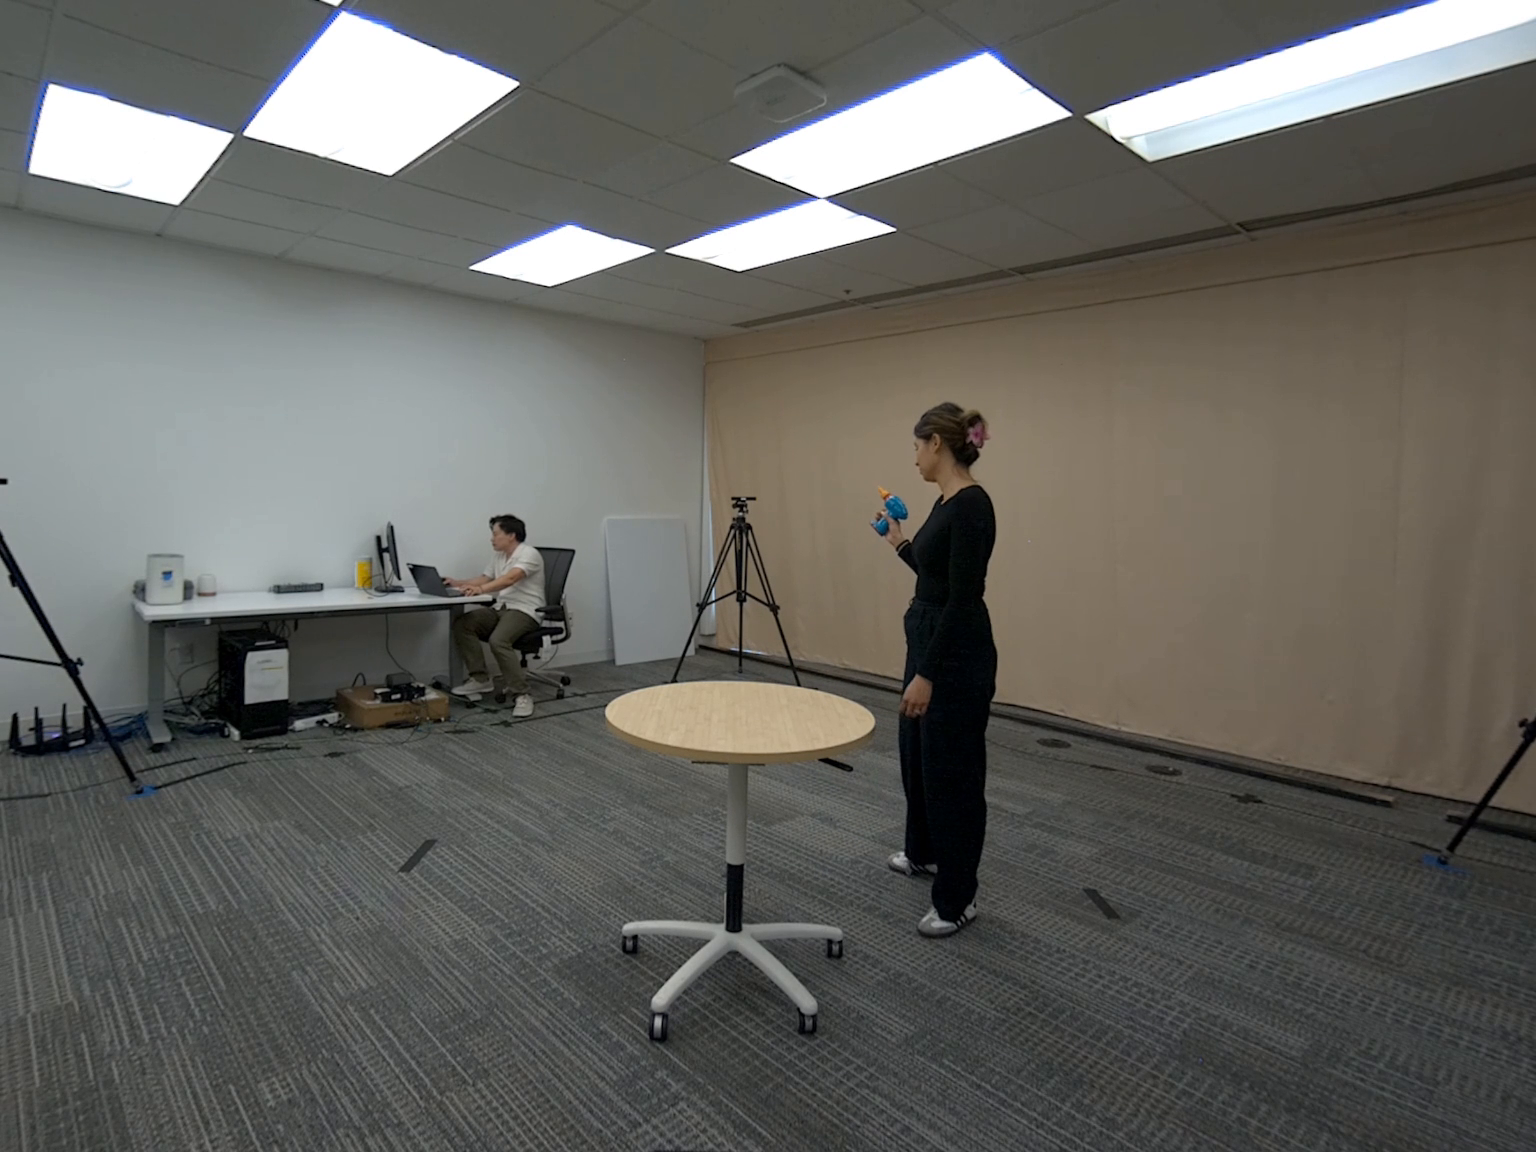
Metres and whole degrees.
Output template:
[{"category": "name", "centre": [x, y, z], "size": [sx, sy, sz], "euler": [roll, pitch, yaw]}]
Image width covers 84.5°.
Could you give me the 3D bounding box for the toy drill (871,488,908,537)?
[{"category": "toy drill", "centre": [0.428, -0.250, 3.152], "size": [0.146, 0.174, 0.059], "euler": [-41, -24, 12]}]
